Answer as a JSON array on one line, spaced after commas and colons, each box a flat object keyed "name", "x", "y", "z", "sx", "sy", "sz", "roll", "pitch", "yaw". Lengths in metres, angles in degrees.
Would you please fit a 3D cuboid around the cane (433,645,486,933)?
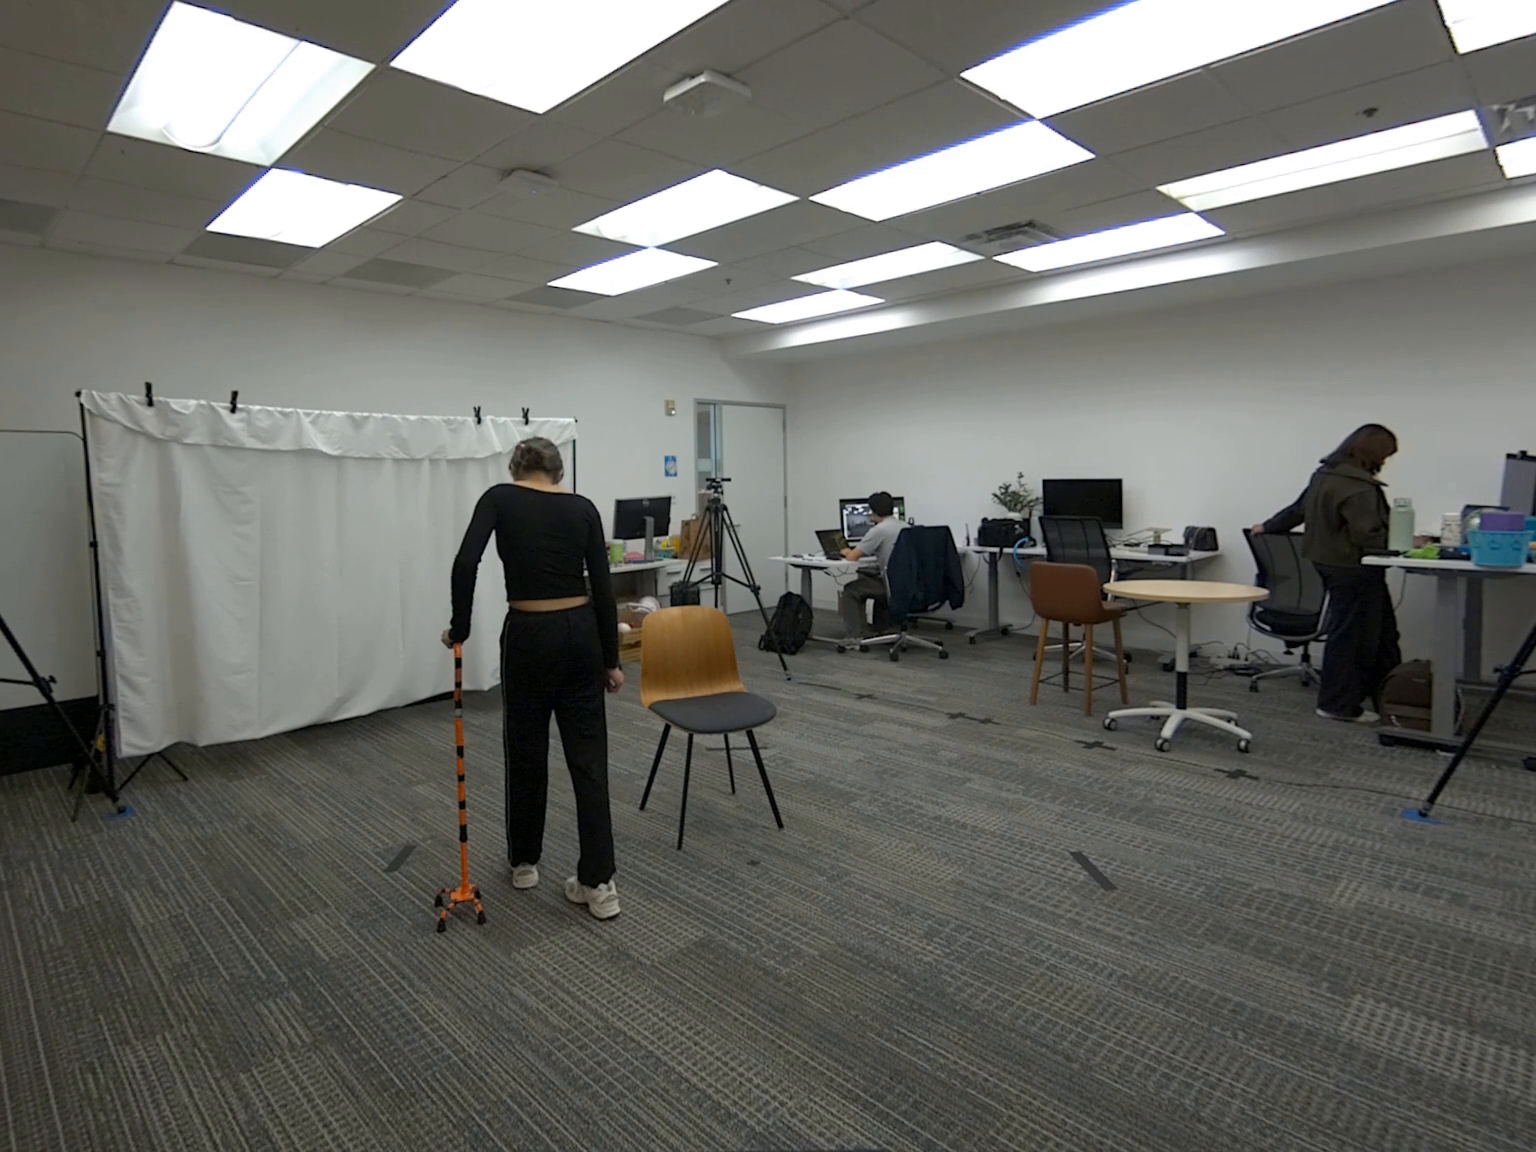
[{"name": "cane", "x": -1.013, "y": 0.644, "z": 2.764, "sx": 0.148, "sy": 0.906, "sz": 0.211, "roll": -2, "pitch": 2, "yaw": -26}]
